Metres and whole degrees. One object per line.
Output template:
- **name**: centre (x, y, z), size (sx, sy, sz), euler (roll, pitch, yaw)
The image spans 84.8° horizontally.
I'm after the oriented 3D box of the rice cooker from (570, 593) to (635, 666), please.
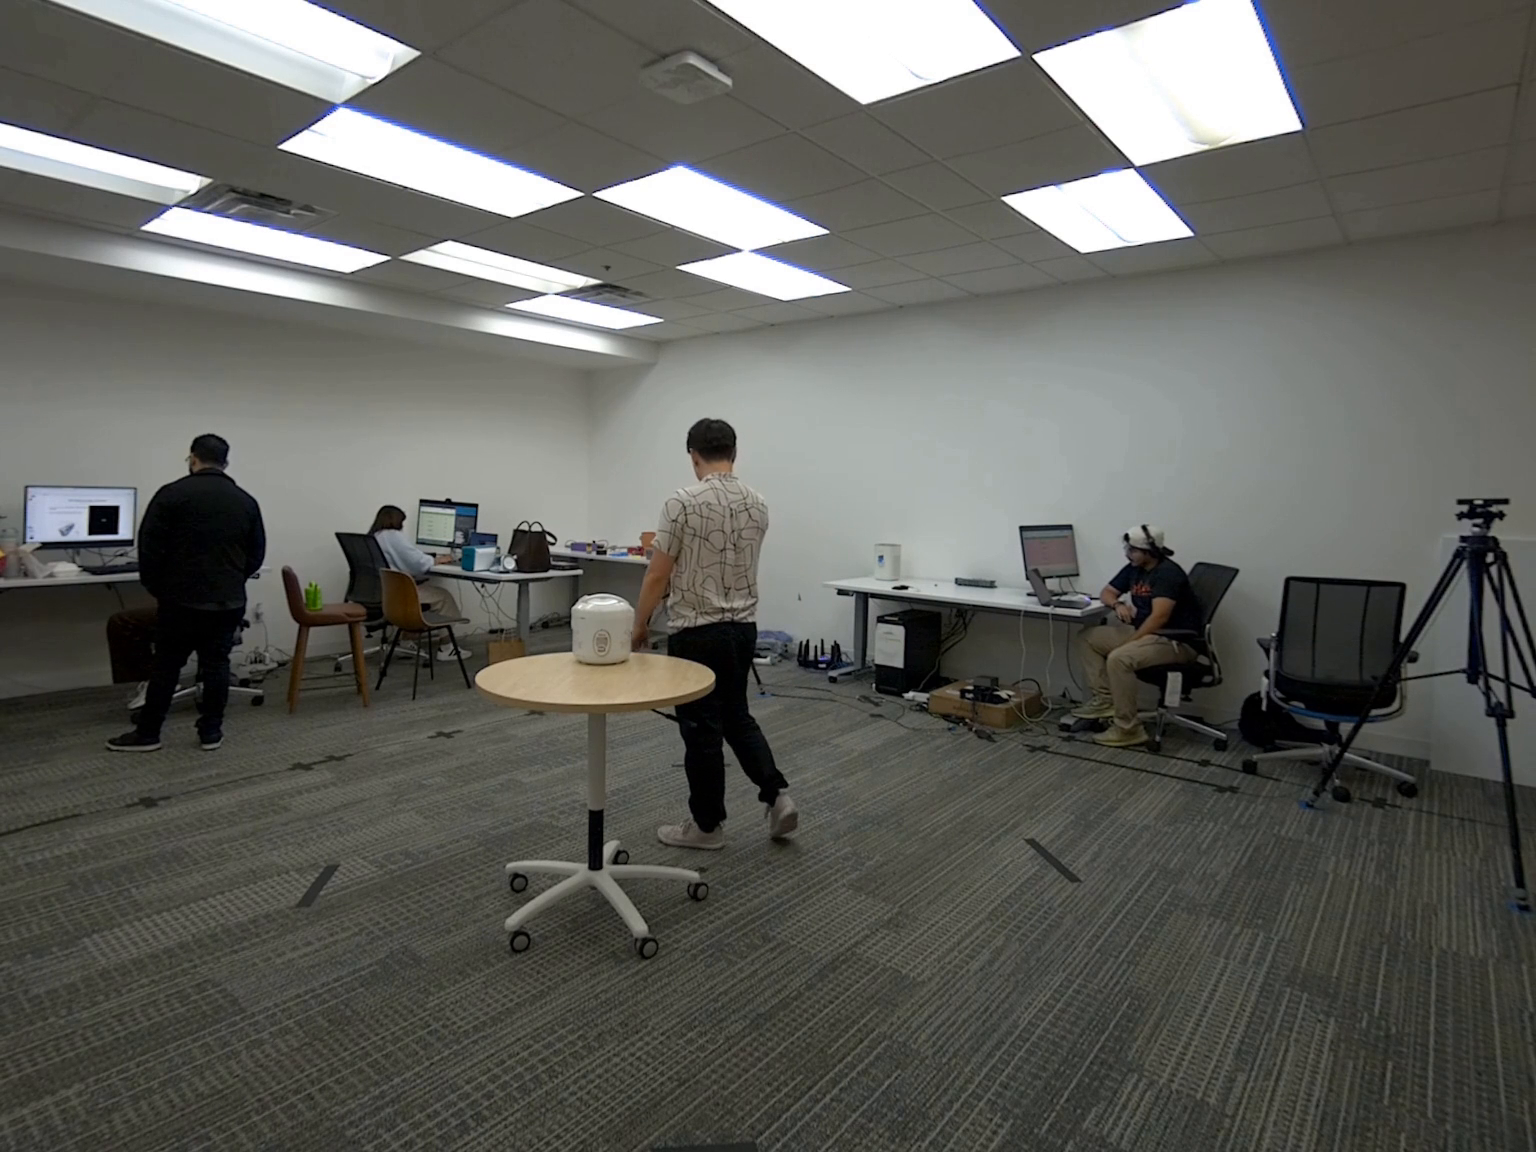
- **rice cooker**: centre (-0.585, 0.176, 2.969), size (0.219, 0.232, 0.220), euler (1, 3, -9)
